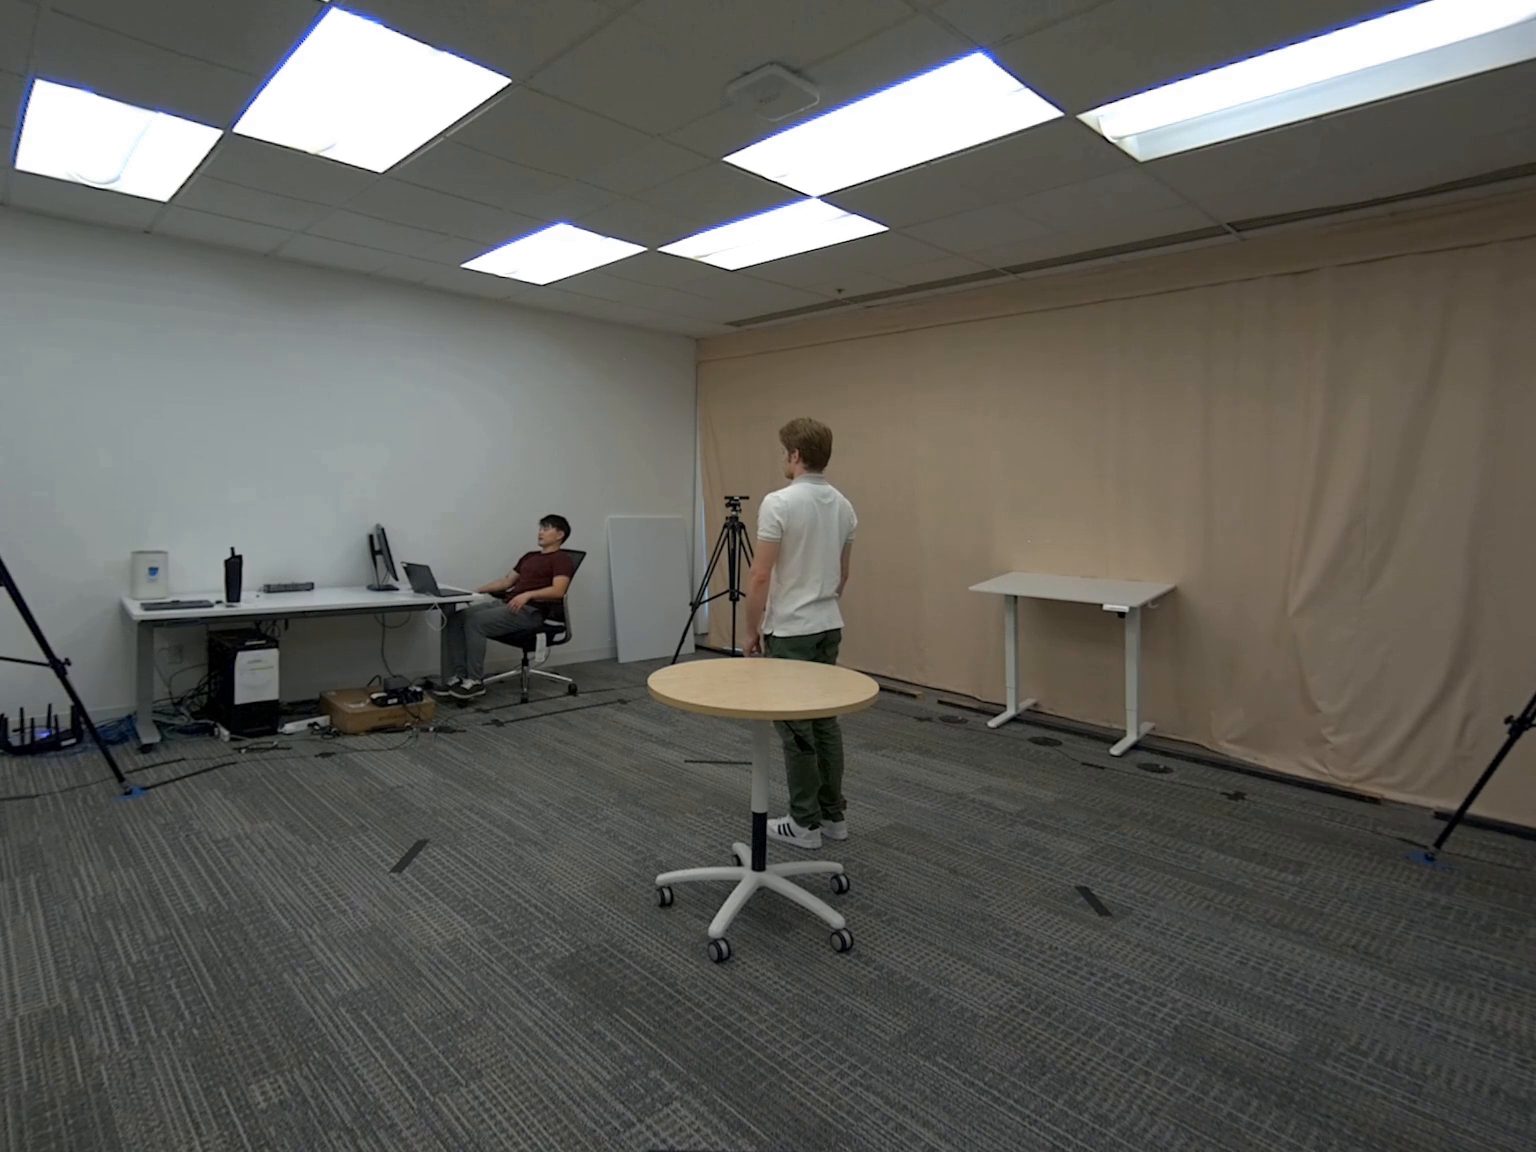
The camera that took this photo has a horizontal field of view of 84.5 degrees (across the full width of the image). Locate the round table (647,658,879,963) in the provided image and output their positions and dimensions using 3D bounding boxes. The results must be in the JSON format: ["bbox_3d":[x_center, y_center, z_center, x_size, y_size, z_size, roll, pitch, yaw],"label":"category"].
[{"bbox_3d":[-0.035,0.745,2.823,0.763,0.791,0.767,1,5,-1],"label":"round table"}]
